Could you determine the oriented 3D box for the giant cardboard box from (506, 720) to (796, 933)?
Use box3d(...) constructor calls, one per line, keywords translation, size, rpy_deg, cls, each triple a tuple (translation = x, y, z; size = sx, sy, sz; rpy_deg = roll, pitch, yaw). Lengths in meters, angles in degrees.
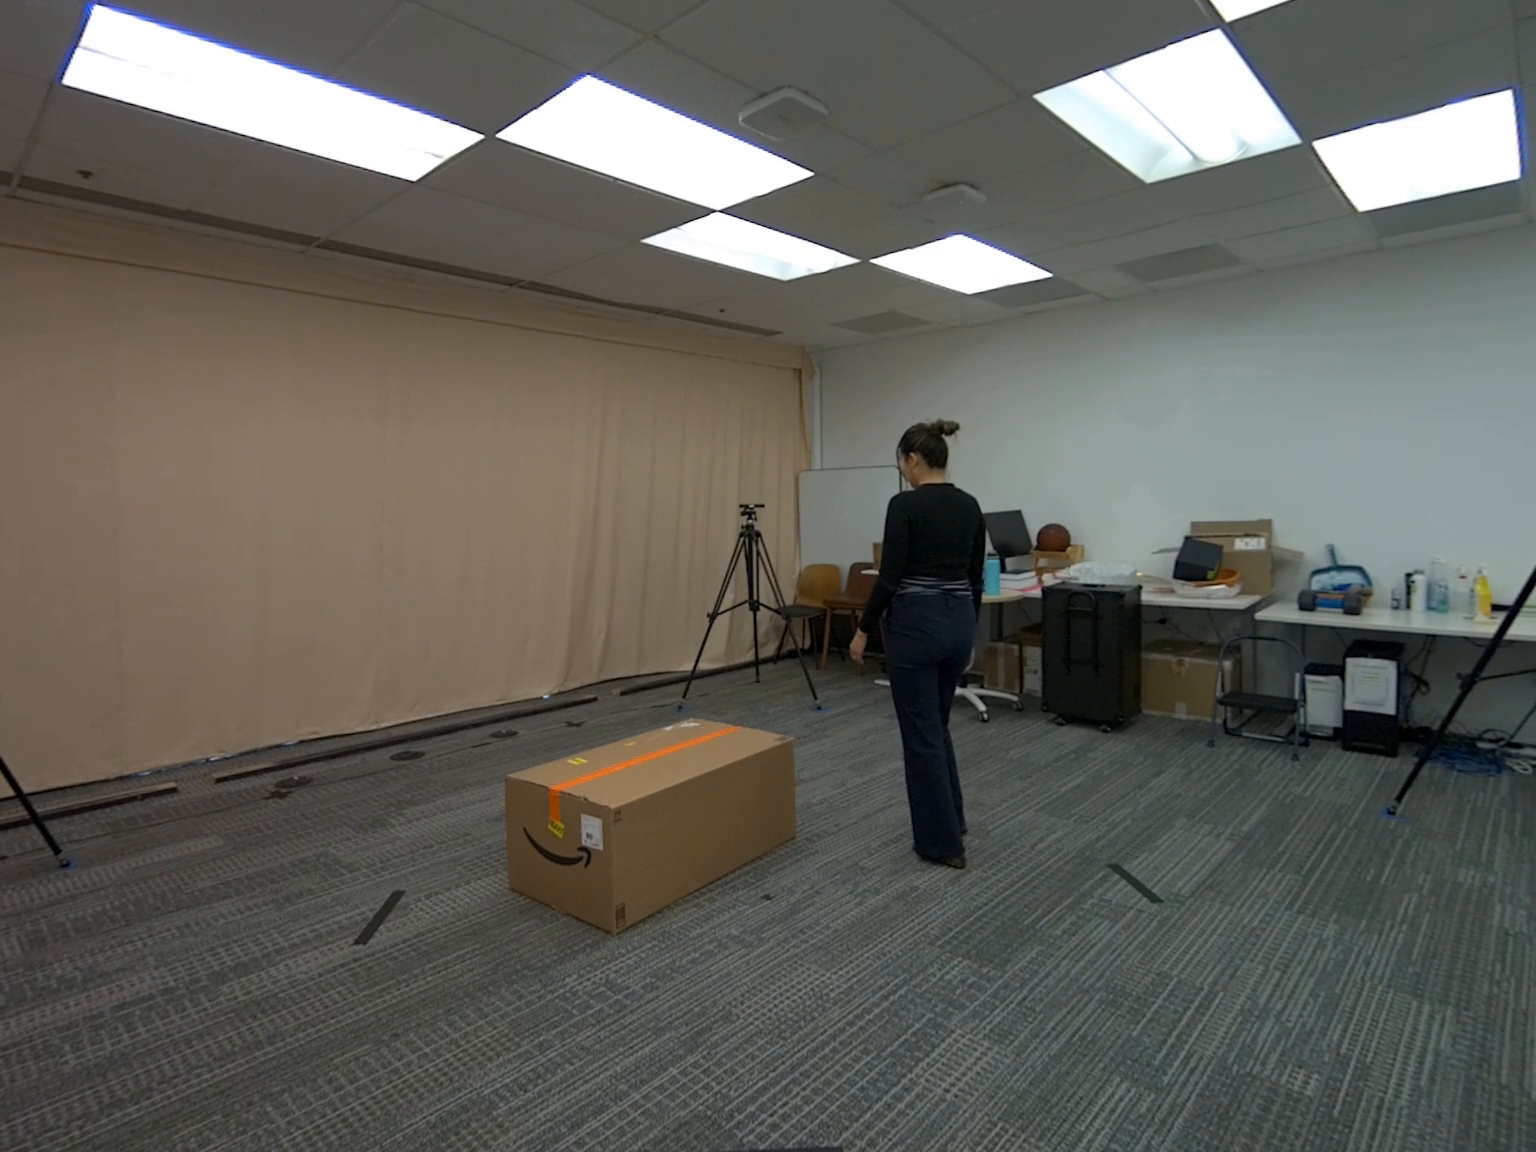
box3d(translation=(-0.425, 0.909, 3.291), size=(0.596, 0.425, 0.996), rpy_deg=(1, 5, 39), cls="giant cardboard box")
